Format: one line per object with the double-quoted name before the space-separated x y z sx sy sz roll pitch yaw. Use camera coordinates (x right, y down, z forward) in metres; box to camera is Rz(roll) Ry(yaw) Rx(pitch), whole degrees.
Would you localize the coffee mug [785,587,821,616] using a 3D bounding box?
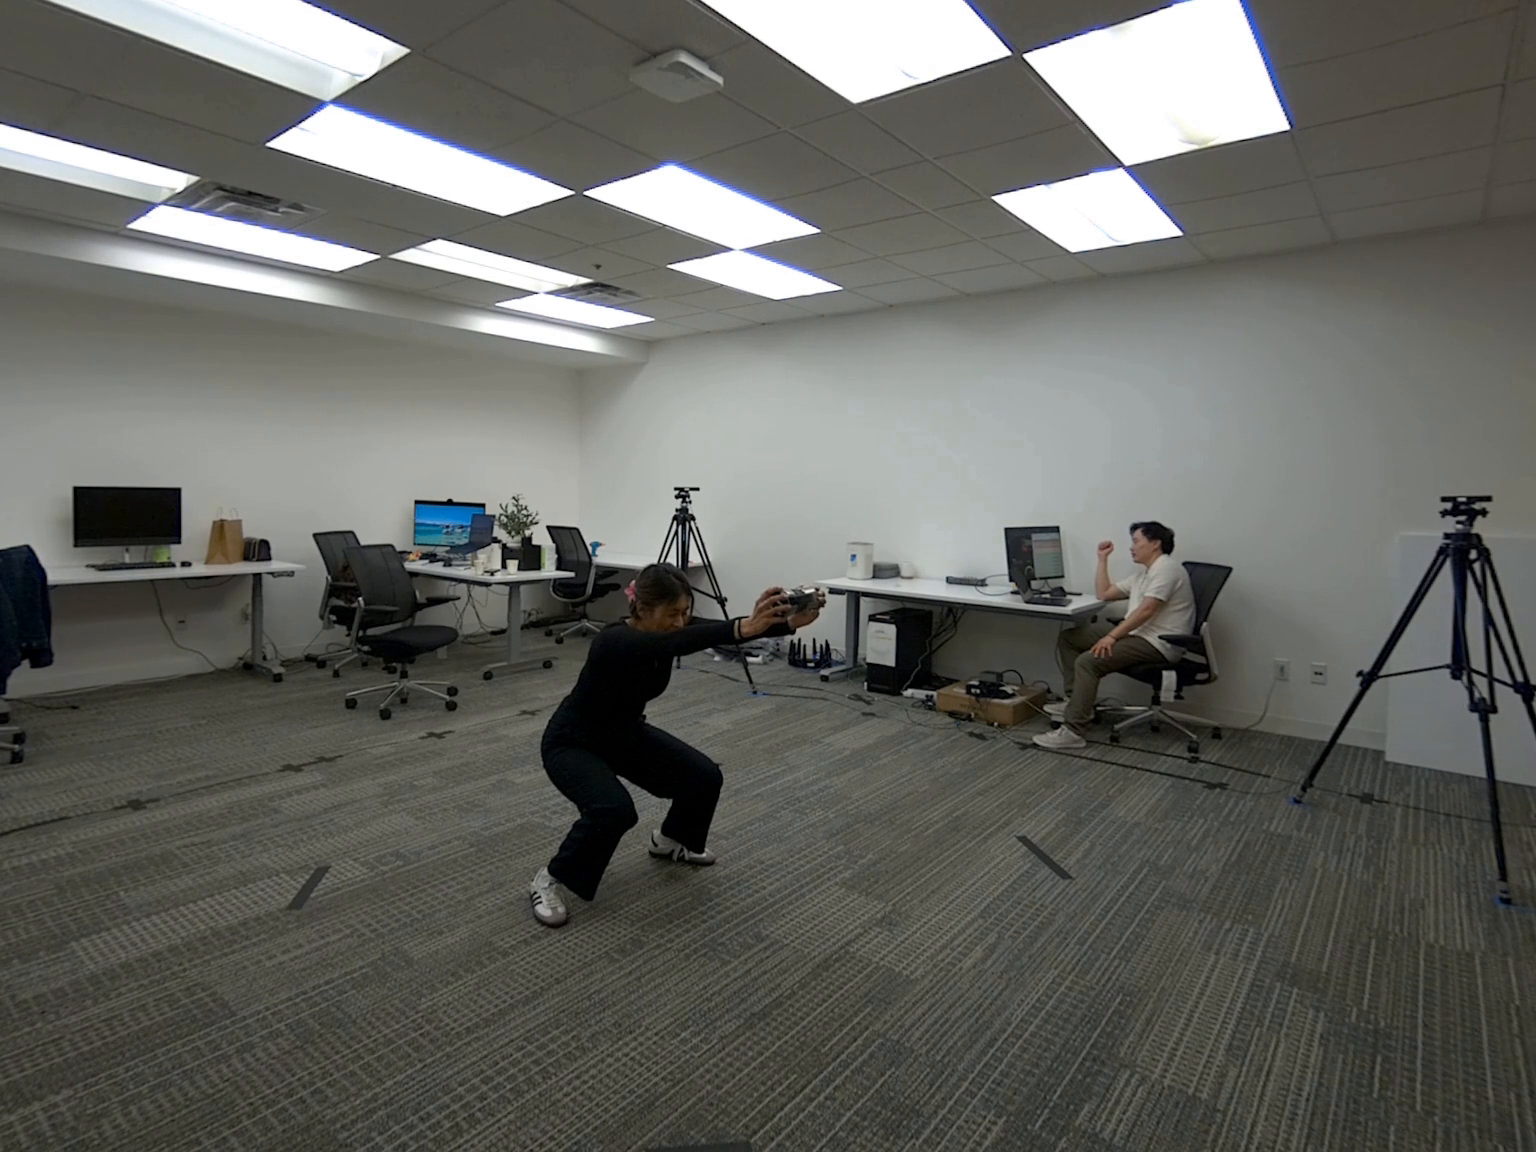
"coffee mug" 0.059 0.080 2.422 0.197 0.087 0.127 -2 12 -43
